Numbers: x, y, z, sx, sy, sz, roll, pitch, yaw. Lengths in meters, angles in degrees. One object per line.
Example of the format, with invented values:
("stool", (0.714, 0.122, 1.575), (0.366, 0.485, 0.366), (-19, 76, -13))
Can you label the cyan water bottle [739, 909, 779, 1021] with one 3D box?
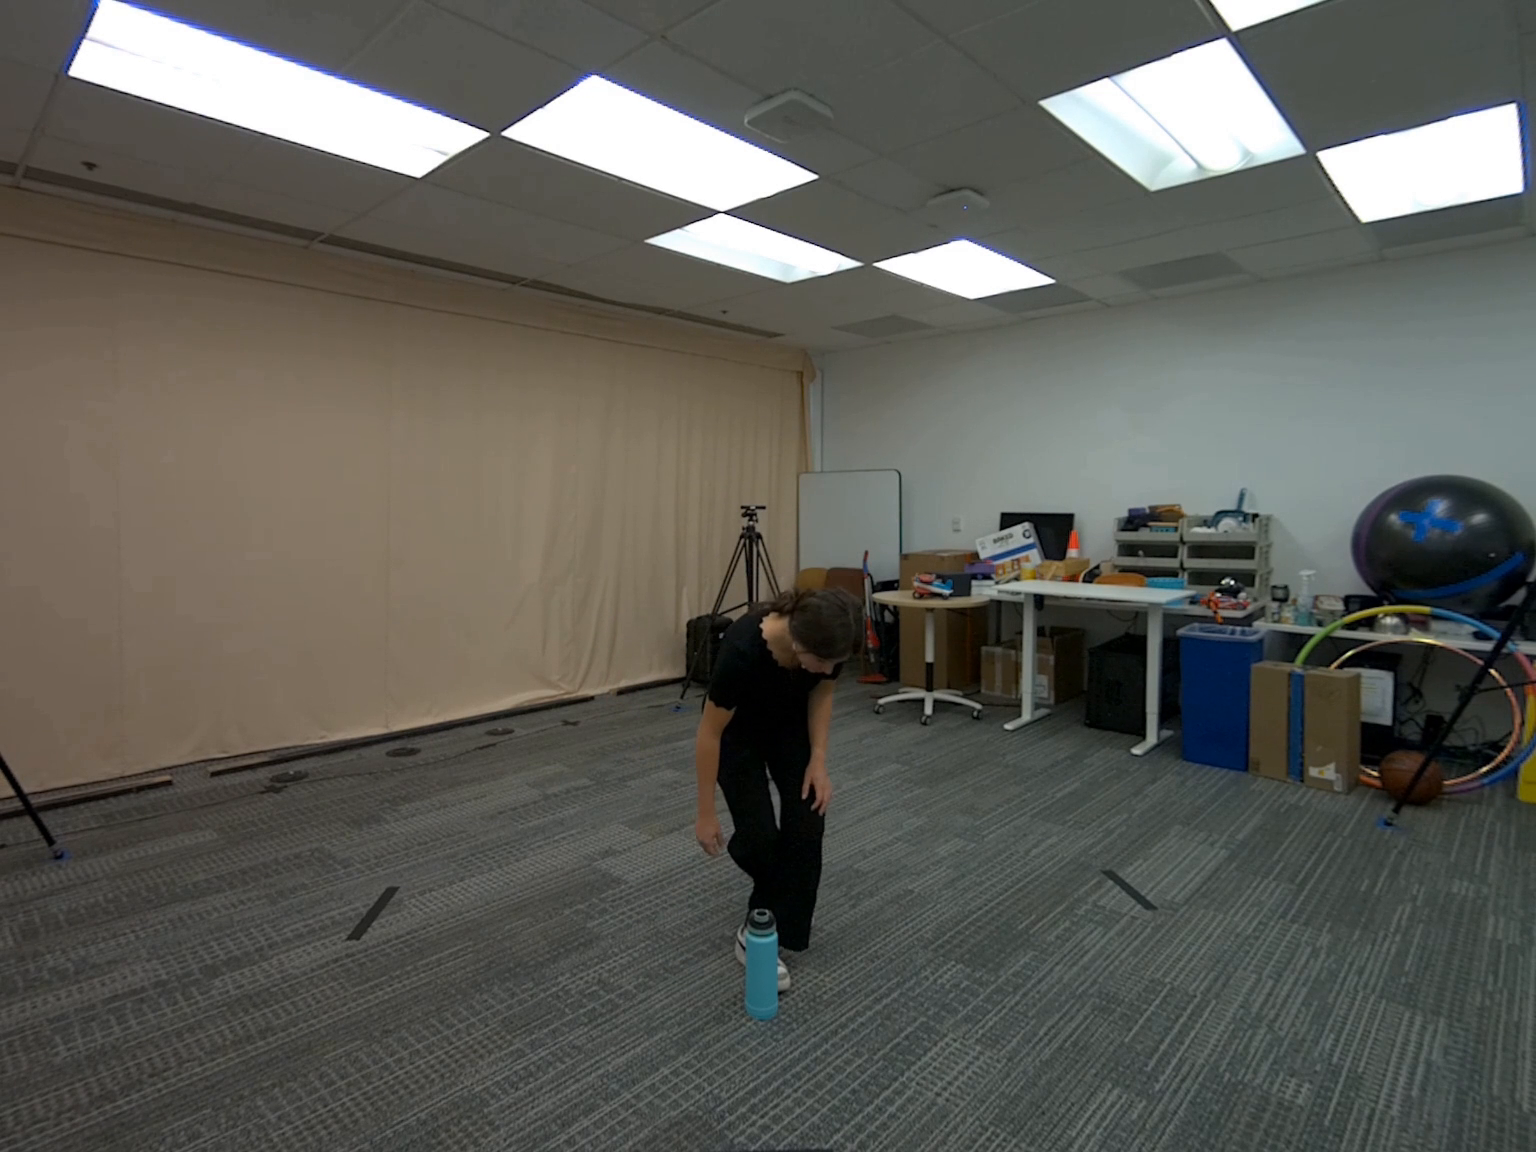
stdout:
("cyan water bottle", (-0.024, 1.051, 2.318), (0.092, 0.283, 0.092), (-1, 3, -2))
